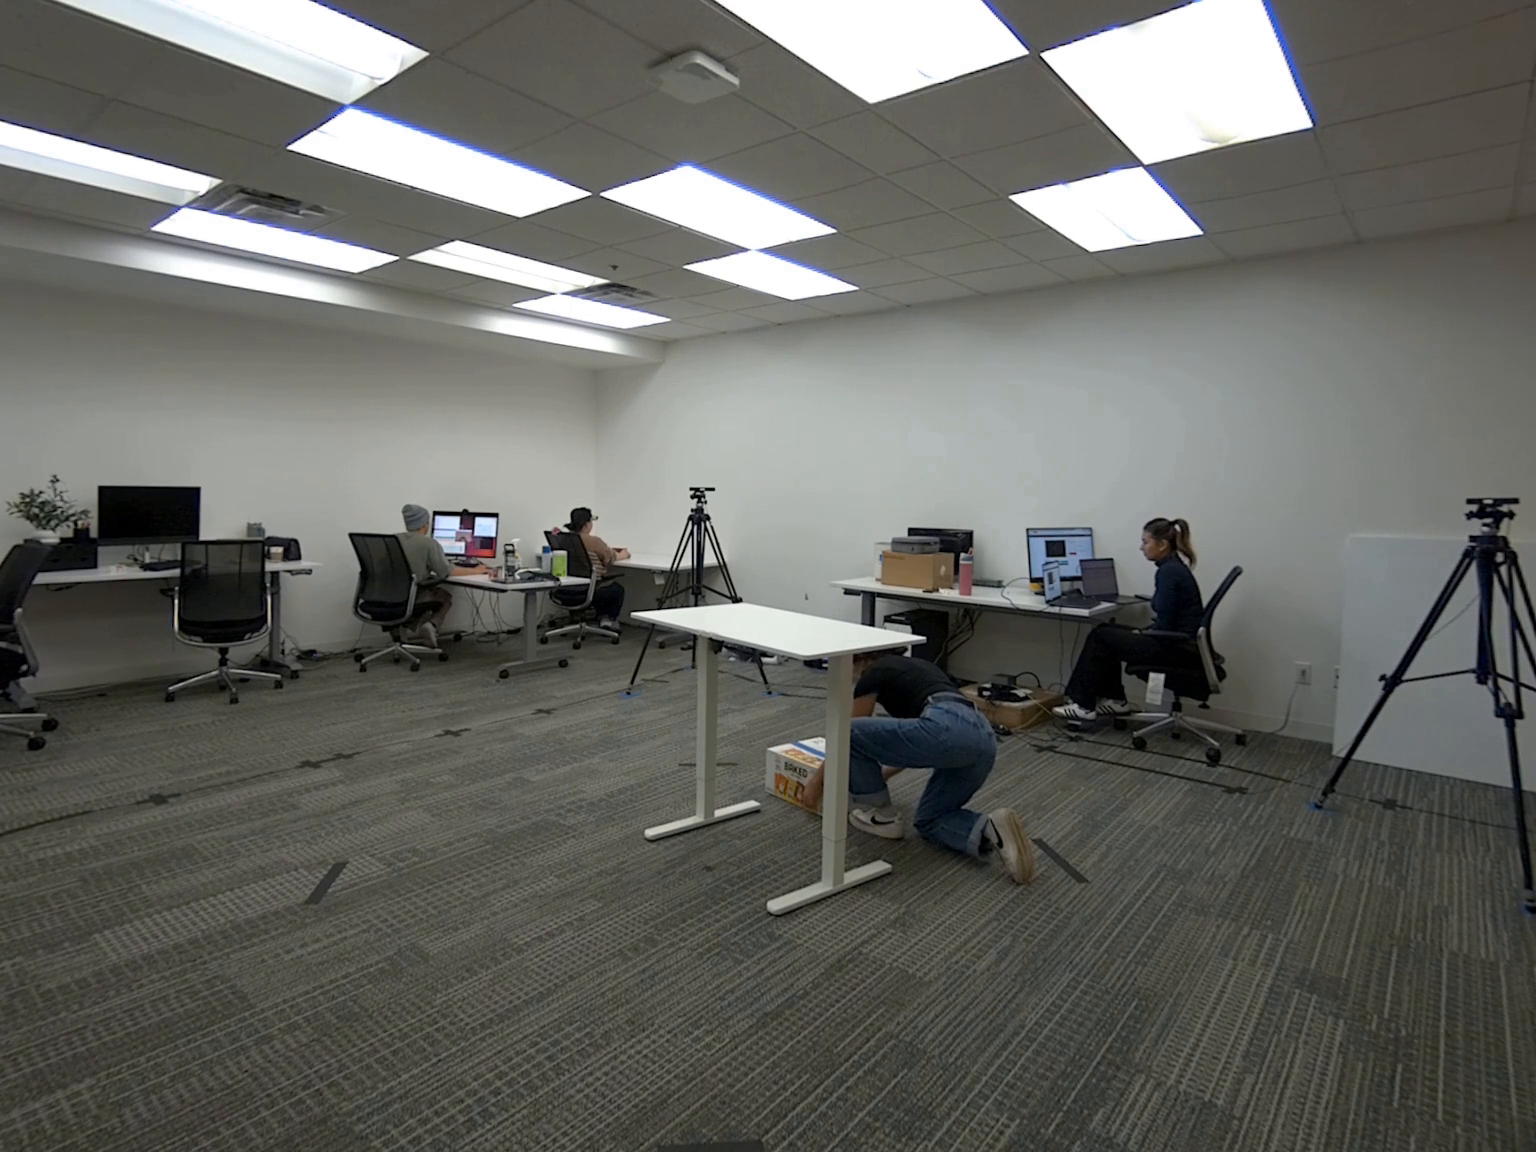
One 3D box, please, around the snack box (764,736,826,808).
[{"bbox_3d":[0.243,0.900,3.854,0.330,0.205,0.419,-3,6,-39],"label":"snack box"}]
